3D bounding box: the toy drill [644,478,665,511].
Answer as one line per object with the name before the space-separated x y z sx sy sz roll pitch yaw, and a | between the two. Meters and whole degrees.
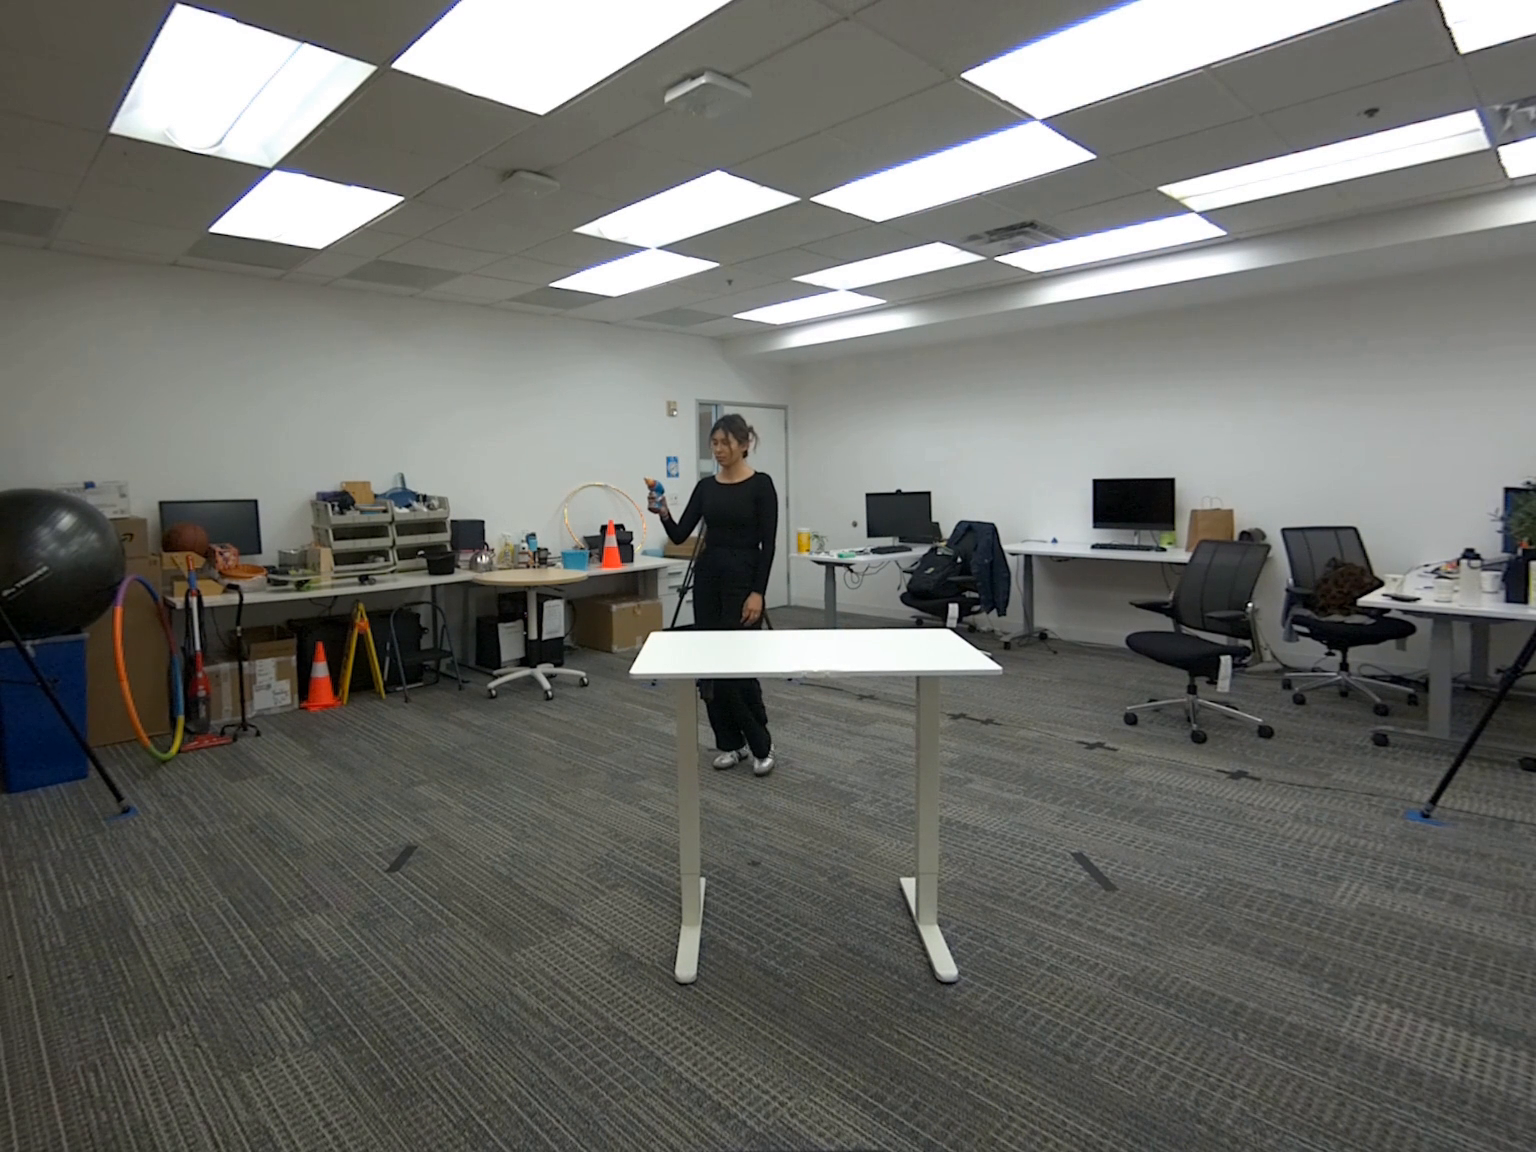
toy drill | -0.522 -0.383 3.906 0.062 0.149 0.164 -6 -24 18
